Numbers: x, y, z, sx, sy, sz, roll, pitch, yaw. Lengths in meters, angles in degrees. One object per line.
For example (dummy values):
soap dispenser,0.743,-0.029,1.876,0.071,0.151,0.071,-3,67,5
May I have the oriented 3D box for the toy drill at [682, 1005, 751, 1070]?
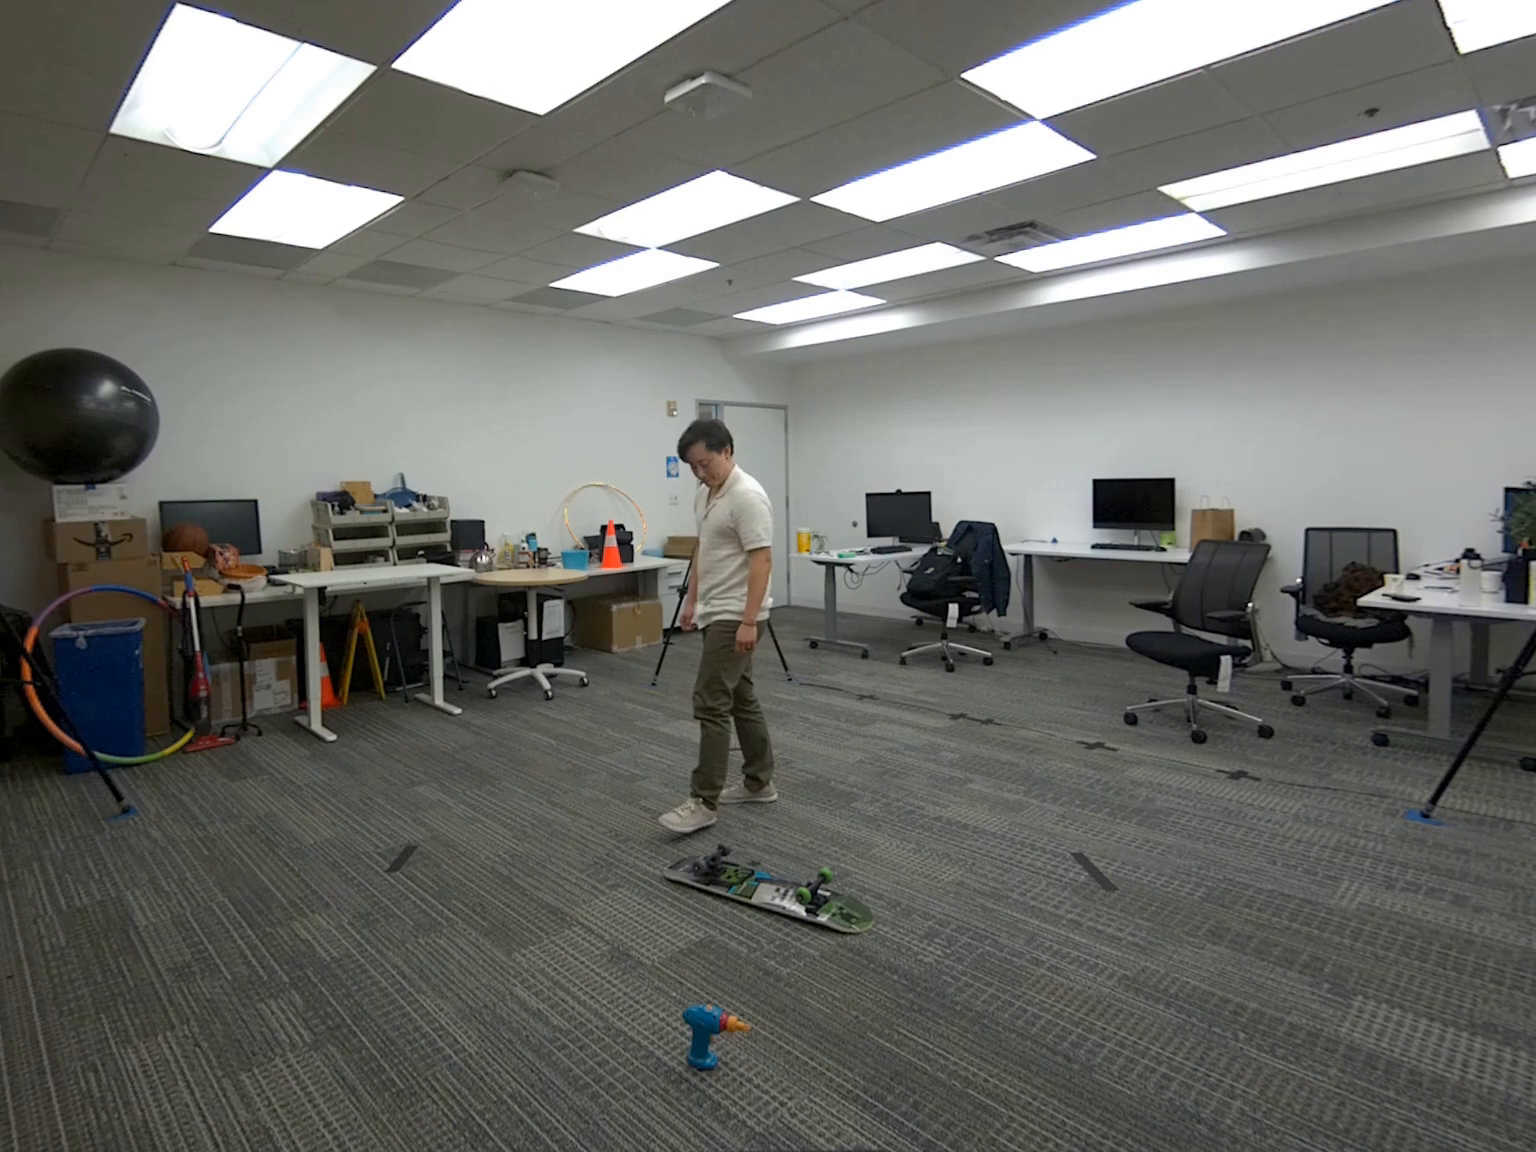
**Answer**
toy drill,-0.114,1.100,2.040,0.172,0.145,0.060,0,4,12
